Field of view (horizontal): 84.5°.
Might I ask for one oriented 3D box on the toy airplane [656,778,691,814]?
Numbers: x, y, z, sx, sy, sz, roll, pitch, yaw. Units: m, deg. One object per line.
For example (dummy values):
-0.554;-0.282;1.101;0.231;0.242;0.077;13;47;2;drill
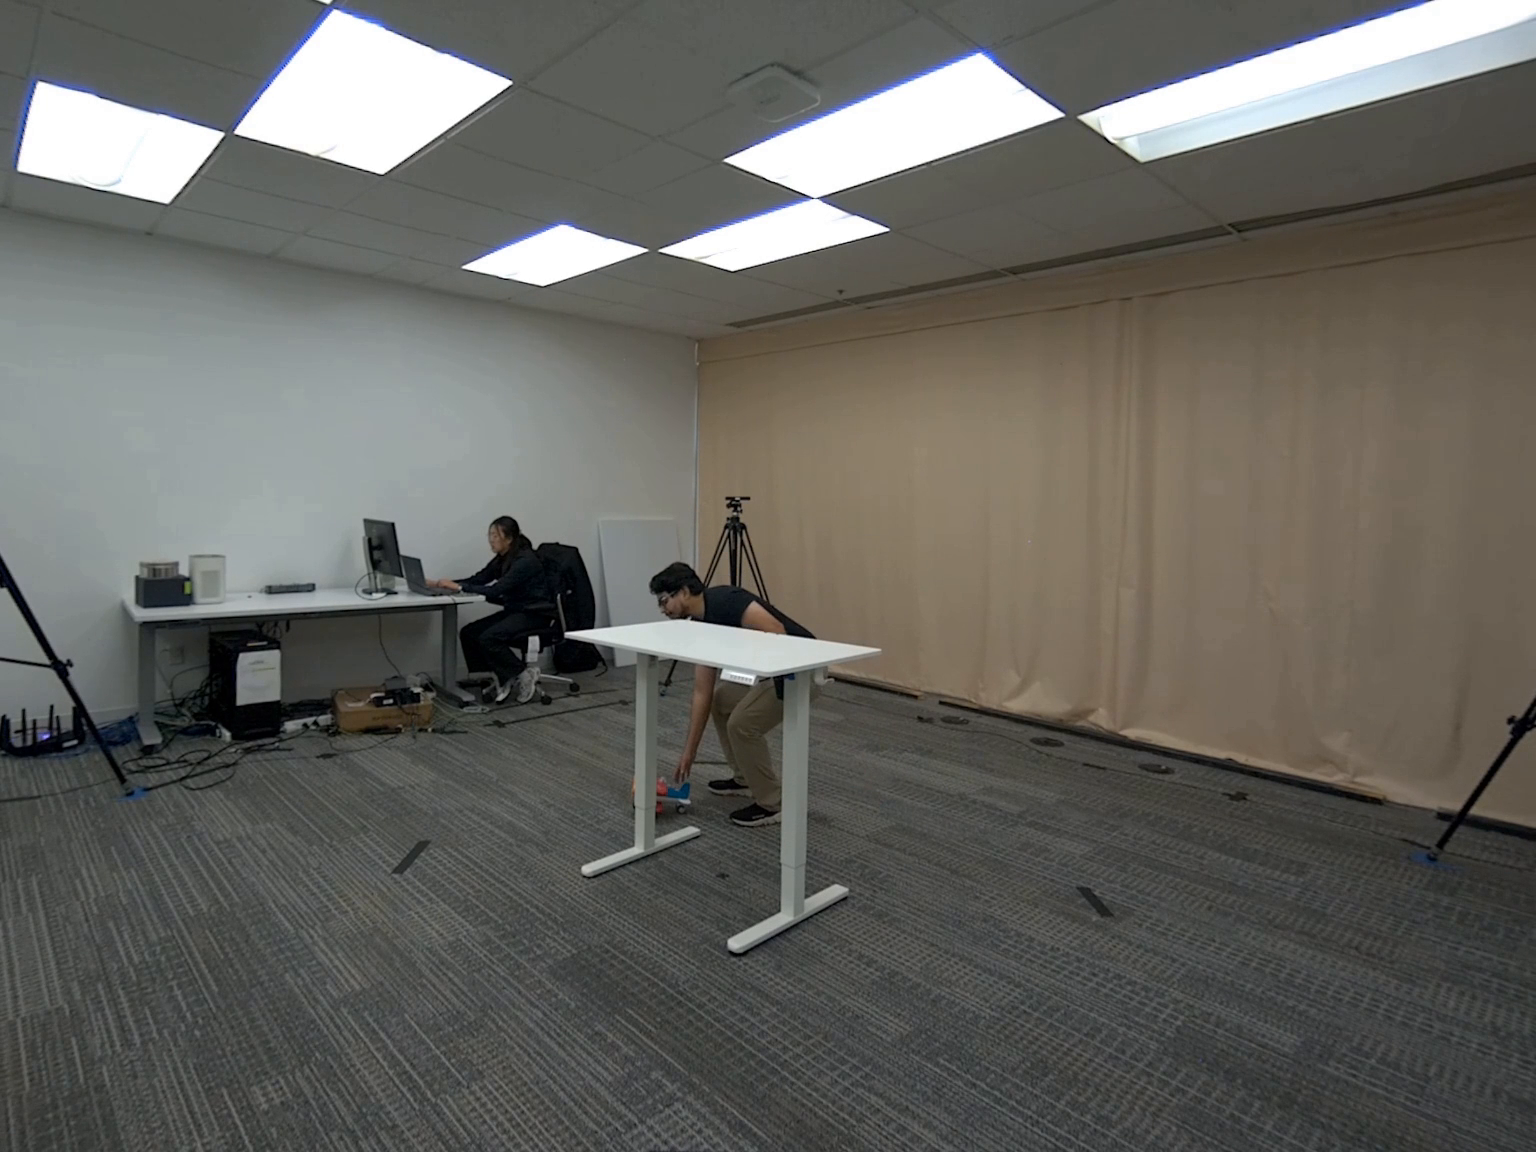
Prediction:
-0.478;0.966;3.721;0.253;0.156;0.257;-5;7;-44;toy airplane
